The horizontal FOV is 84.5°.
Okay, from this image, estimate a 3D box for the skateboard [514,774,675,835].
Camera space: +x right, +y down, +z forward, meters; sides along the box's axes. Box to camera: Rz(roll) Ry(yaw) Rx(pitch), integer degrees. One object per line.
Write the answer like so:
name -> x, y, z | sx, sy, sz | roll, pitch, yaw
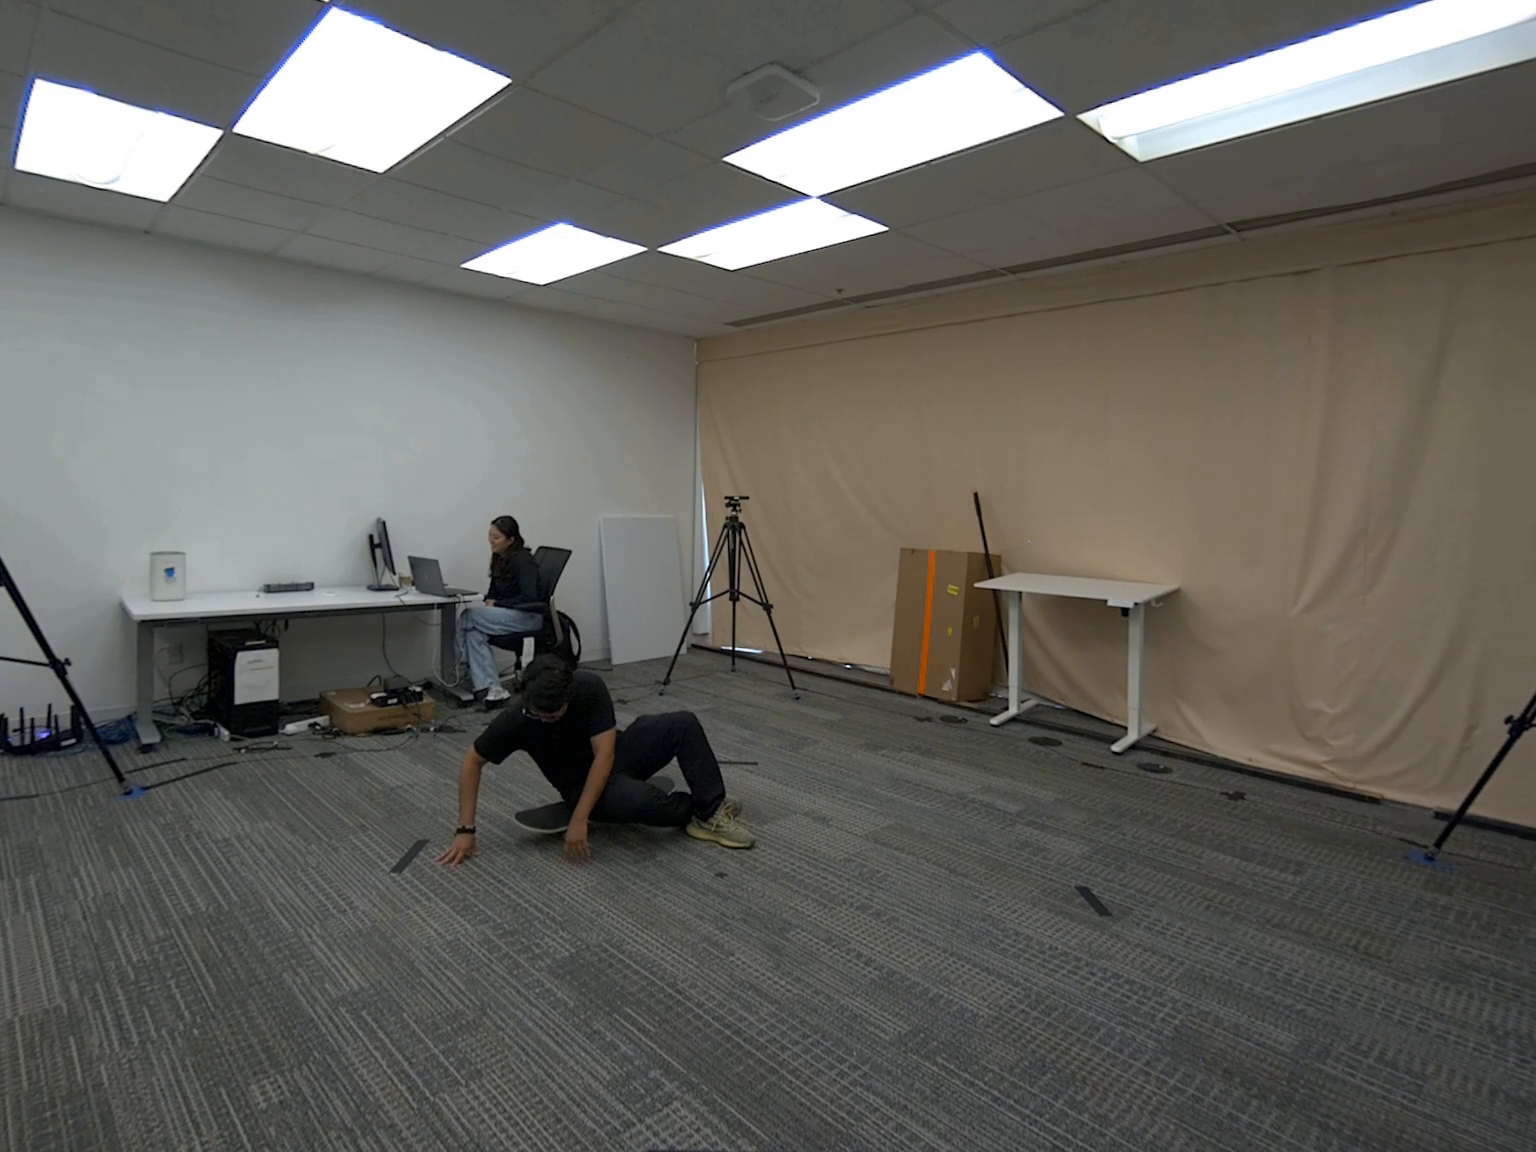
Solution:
skateboard -> -0.722, 0.993, 3.560 | 0.199, 0.110, 0.768 | 15, 13, 42
